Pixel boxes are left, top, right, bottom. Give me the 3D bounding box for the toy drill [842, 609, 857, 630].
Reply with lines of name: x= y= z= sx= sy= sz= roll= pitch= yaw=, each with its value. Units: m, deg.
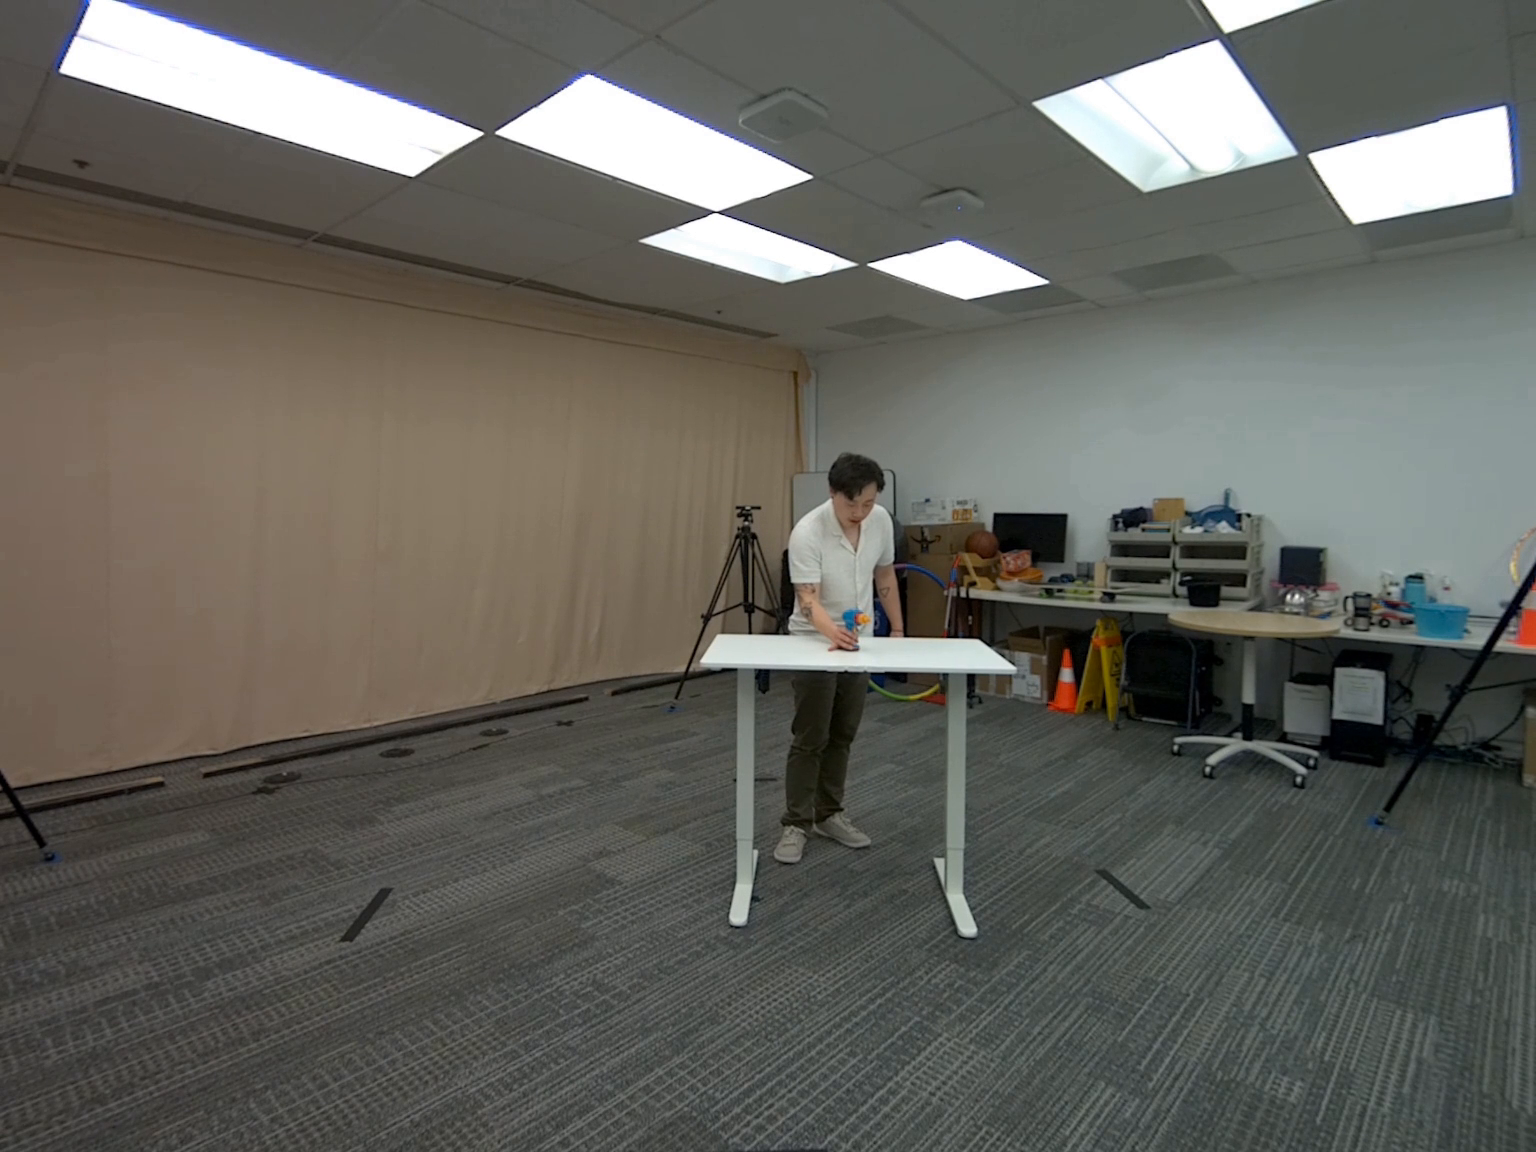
toy drill: x=0.313 y=0.186 z=2.948 sx=0.060 sy=0.146 sz=0.174 roll=1 pitch=1 yaw=-23
